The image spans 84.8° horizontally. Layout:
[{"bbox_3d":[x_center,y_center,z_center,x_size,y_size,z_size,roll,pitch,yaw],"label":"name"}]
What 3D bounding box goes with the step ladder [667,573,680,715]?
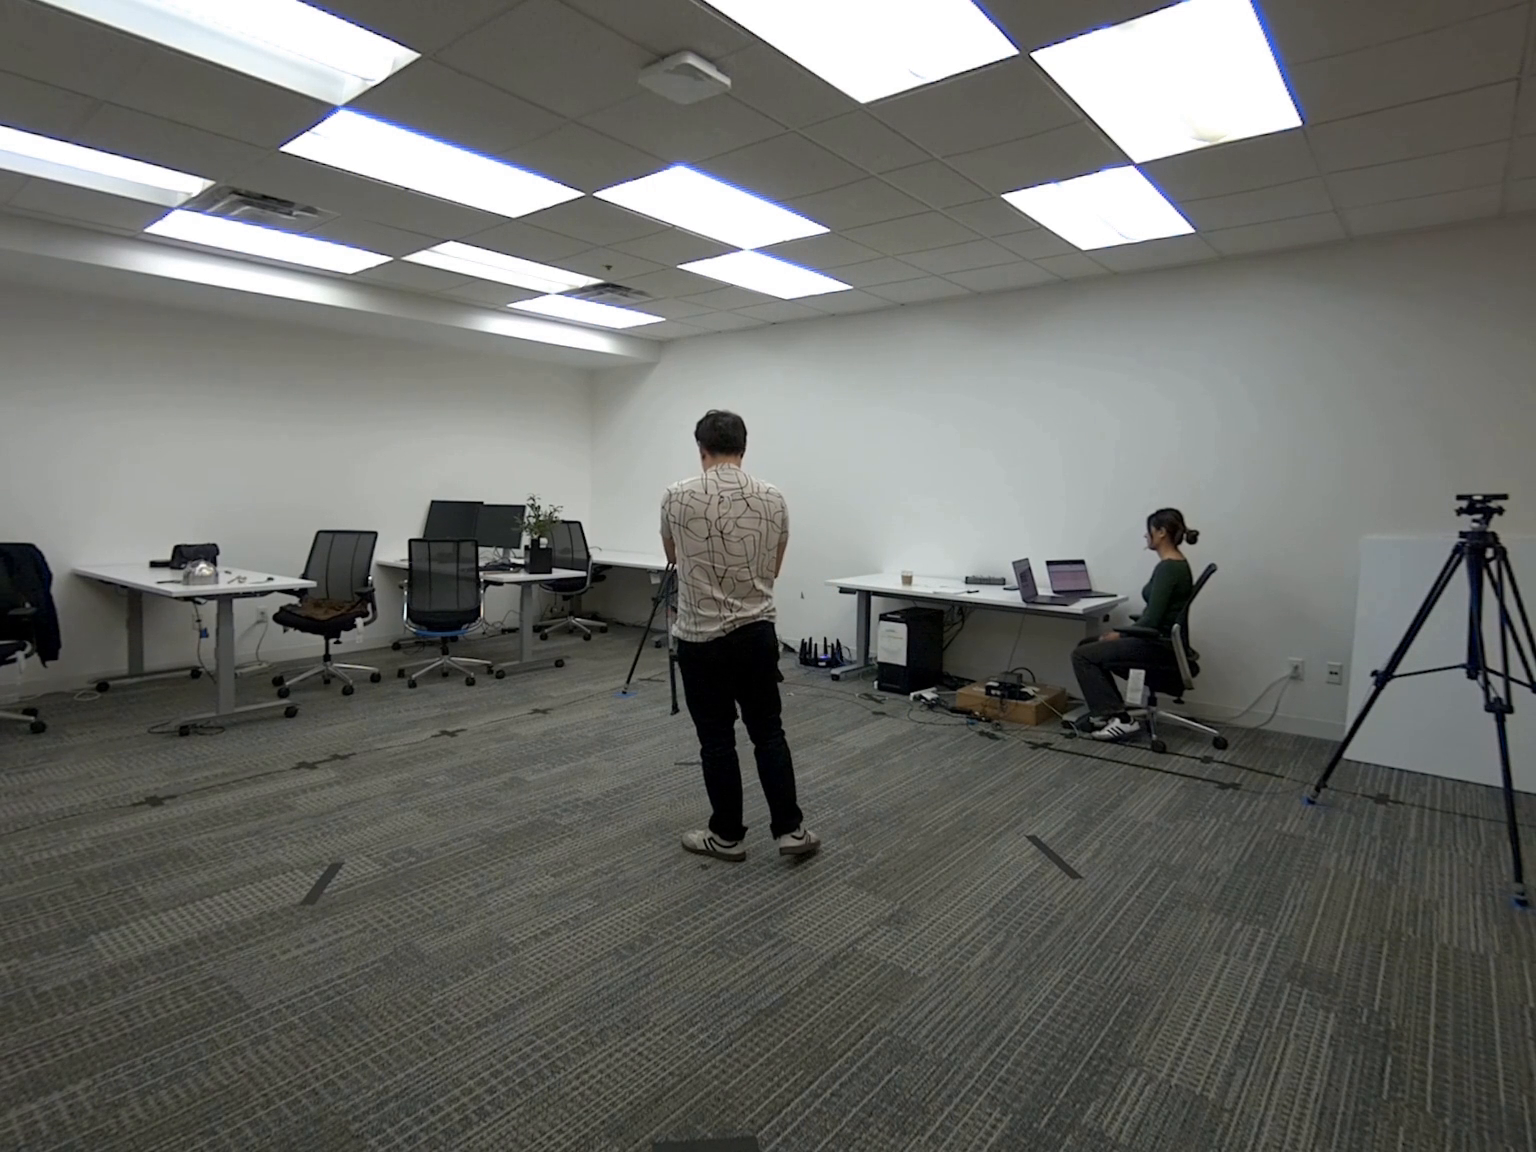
[{"bbox_3d":[-0.286,0.259,3.668,0.443,0.597,0.345,-5,19,46],"label":"step ladder"}]
